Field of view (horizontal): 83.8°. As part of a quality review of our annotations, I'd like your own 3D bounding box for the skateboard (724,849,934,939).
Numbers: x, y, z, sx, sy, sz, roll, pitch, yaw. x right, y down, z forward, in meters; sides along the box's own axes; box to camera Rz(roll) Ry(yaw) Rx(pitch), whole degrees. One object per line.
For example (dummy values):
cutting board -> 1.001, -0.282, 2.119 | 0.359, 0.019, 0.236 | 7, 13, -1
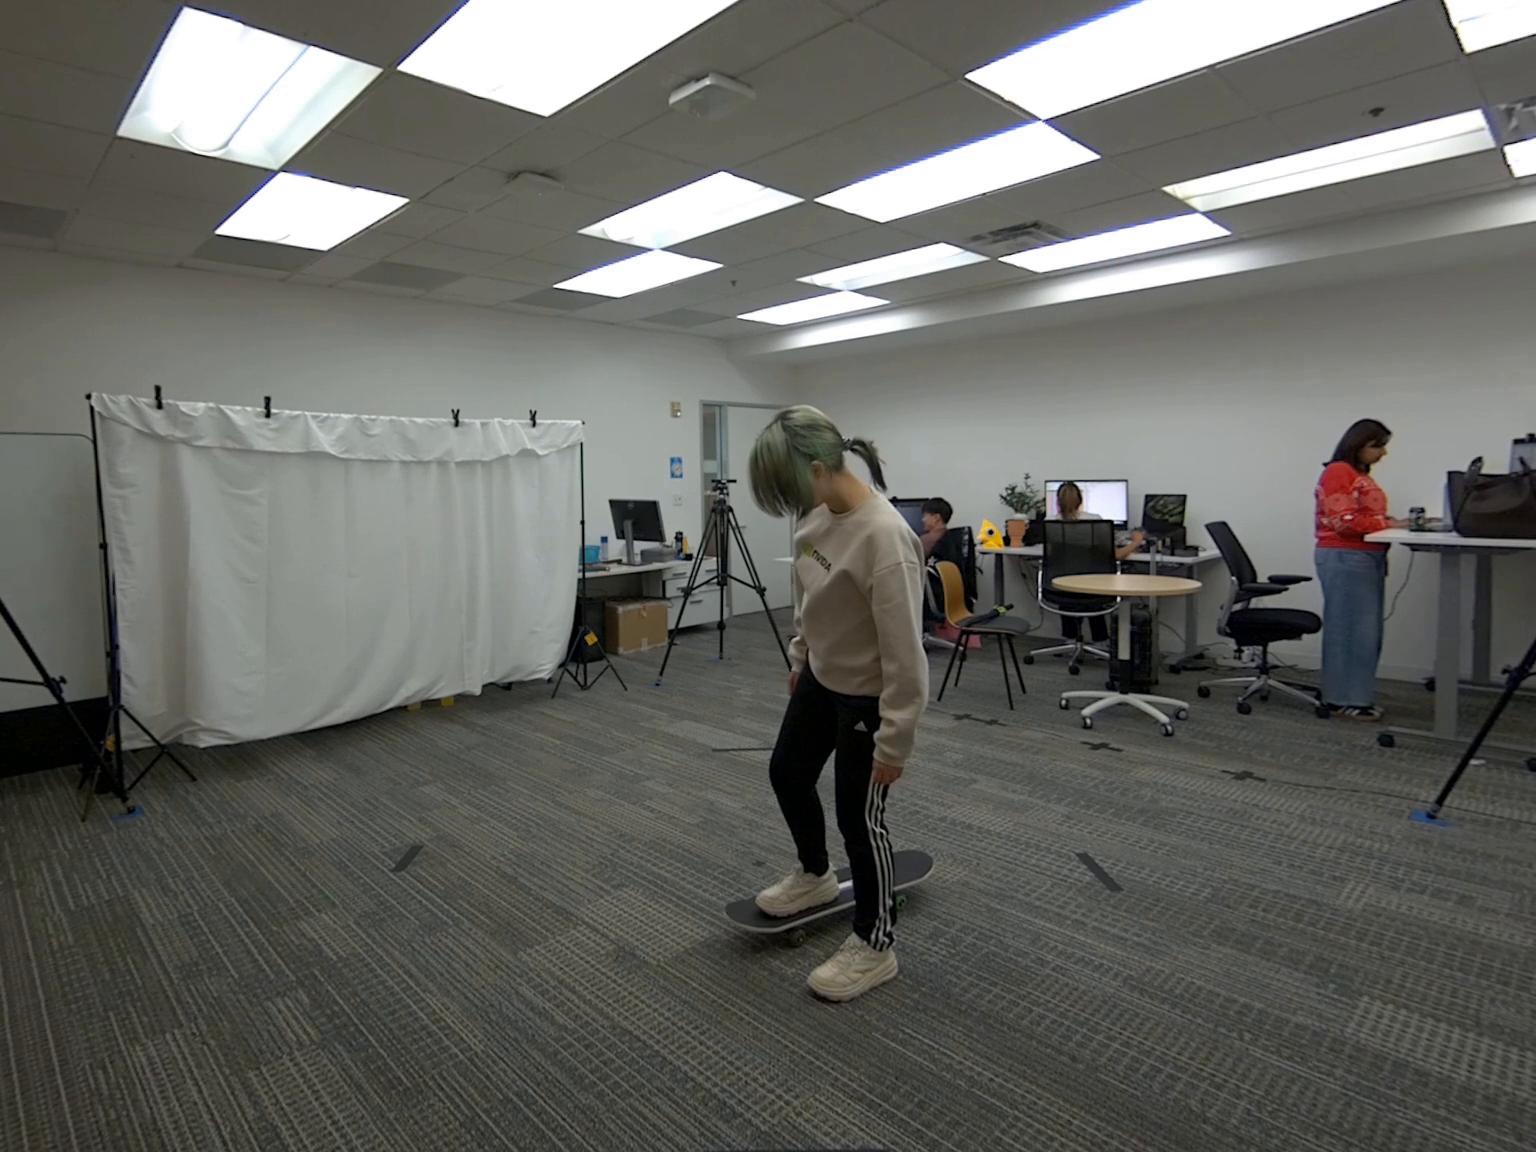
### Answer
skateboard -> 0.222, 1.035, 2.722 | 0.767, 0.110, 0.199 | -6, 8, -31
